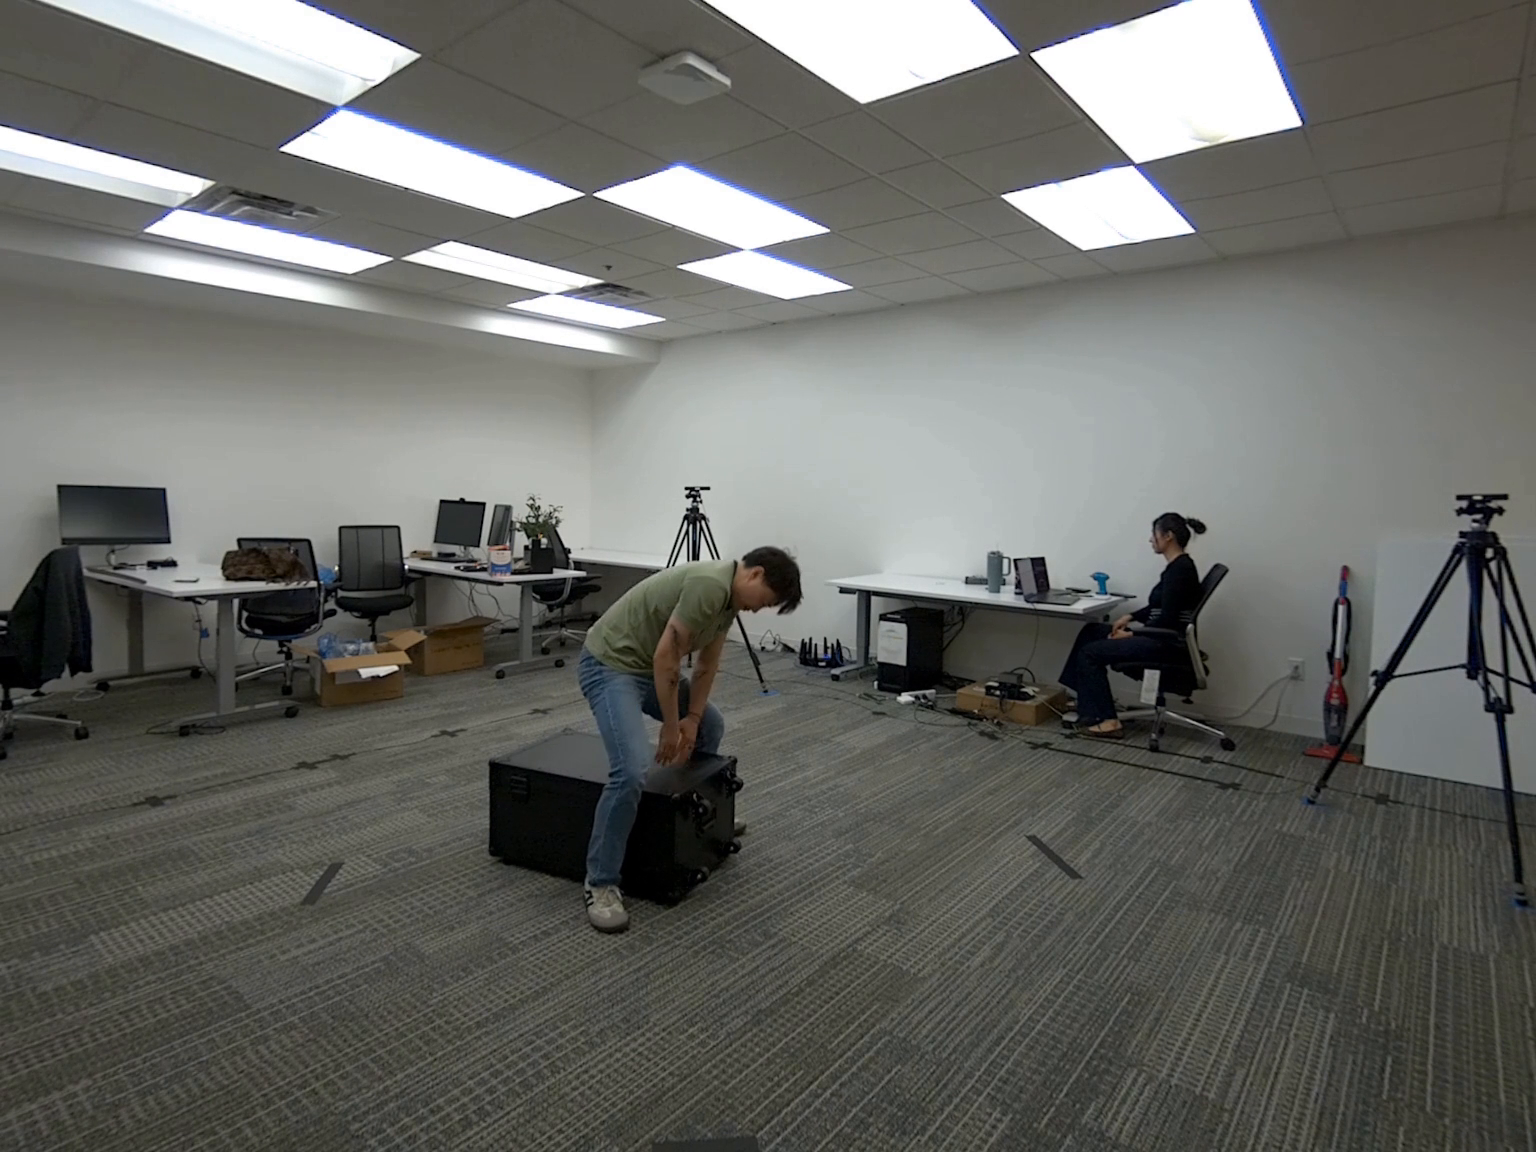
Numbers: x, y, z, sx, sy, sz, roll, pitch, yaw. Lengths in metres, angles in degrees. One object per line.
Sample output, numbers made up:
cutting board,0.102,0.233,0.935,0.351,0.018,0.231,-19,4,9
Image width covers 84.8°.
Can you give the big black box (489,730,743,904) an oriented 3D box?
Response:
big black box,-0.558,0.862,3.153,0.883,0.395,0.510,2,4,24
